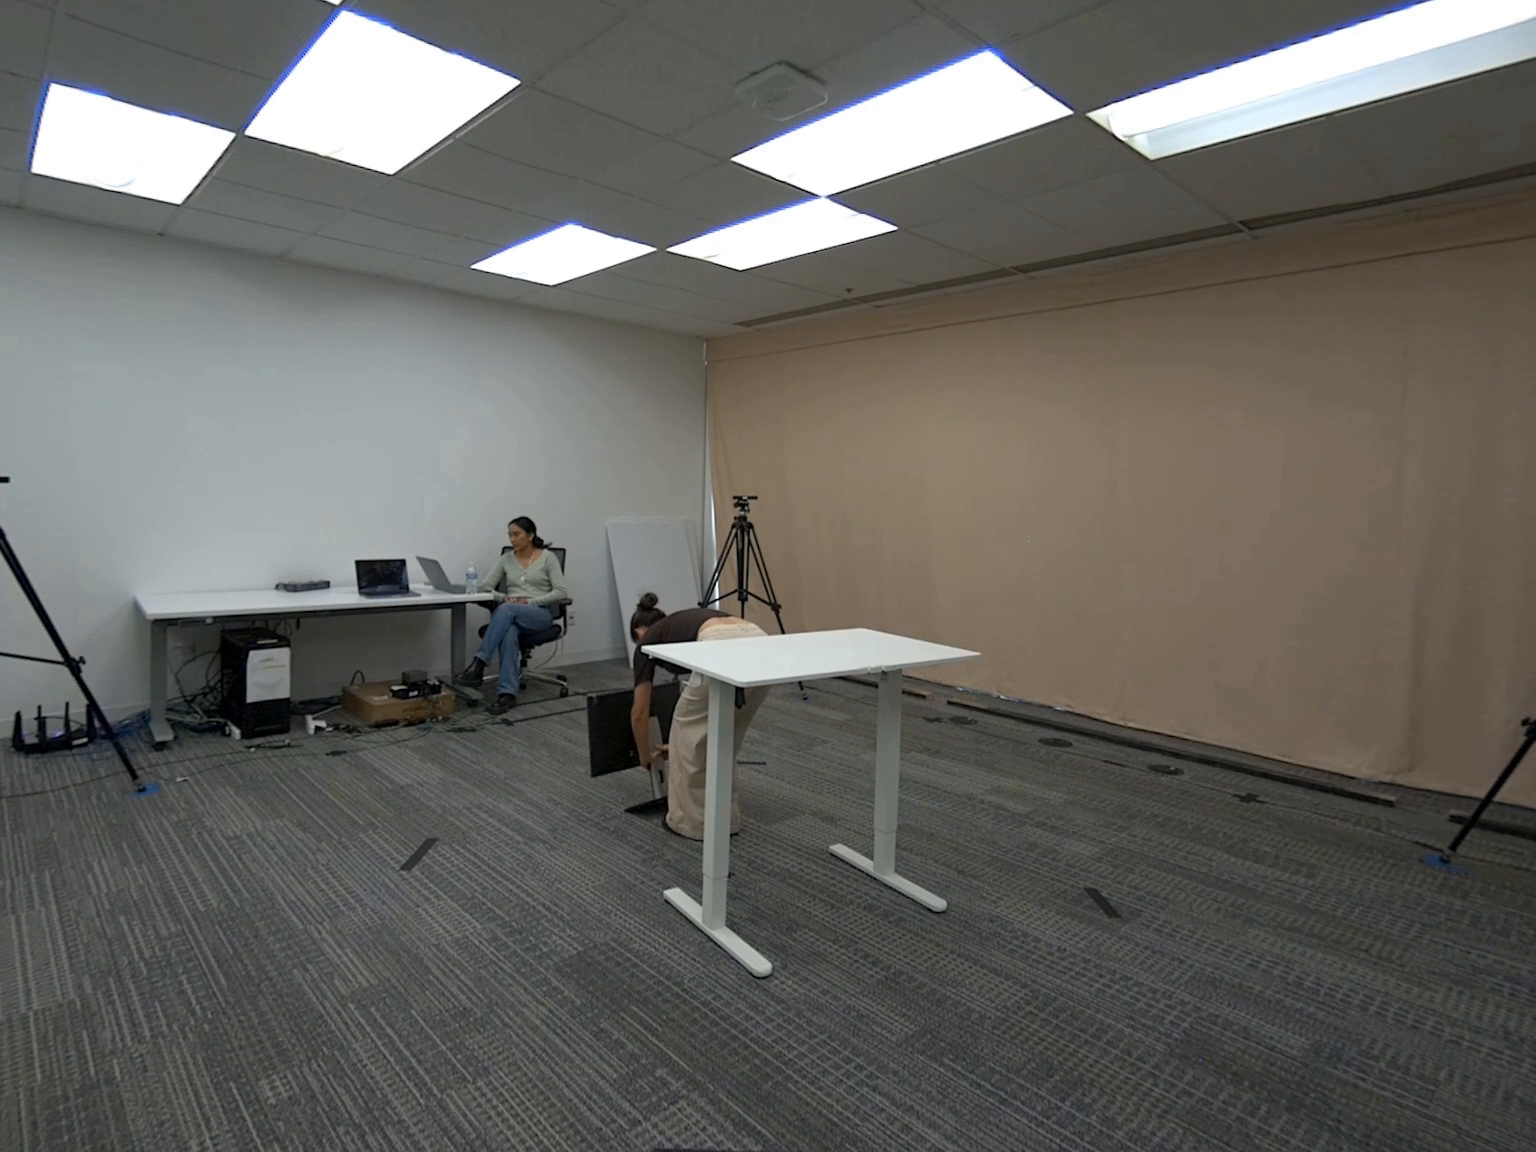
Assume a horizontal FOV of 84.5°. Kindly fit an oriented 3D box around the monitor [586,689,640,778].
[{"bbox_3d":[-0.554,0.763,3.802,0.189,0.529,0.527,-26,-16,40],"label":"monitor"}]
